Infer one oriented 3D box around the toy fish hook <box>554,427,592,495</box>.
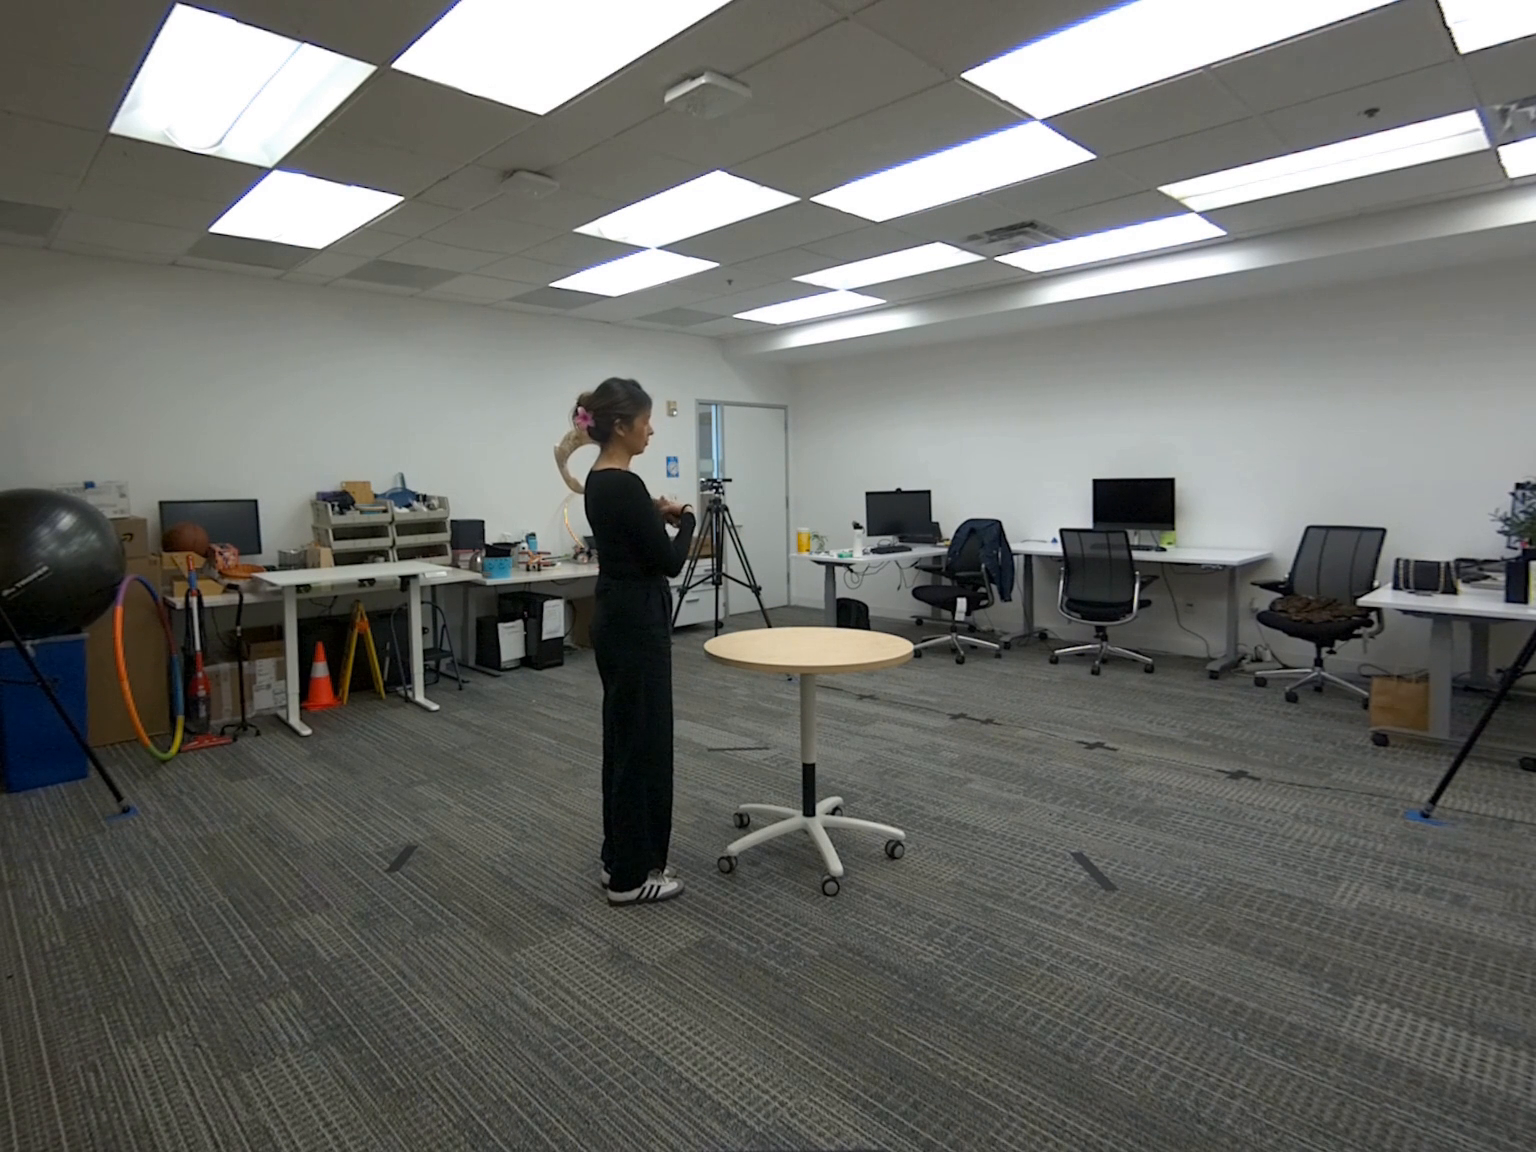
[{"bbox_3d":[-0.513,-0.302,2.930,0.224,0.505,0.048,-46,3,-1],"label":"toy fish hook"}]
